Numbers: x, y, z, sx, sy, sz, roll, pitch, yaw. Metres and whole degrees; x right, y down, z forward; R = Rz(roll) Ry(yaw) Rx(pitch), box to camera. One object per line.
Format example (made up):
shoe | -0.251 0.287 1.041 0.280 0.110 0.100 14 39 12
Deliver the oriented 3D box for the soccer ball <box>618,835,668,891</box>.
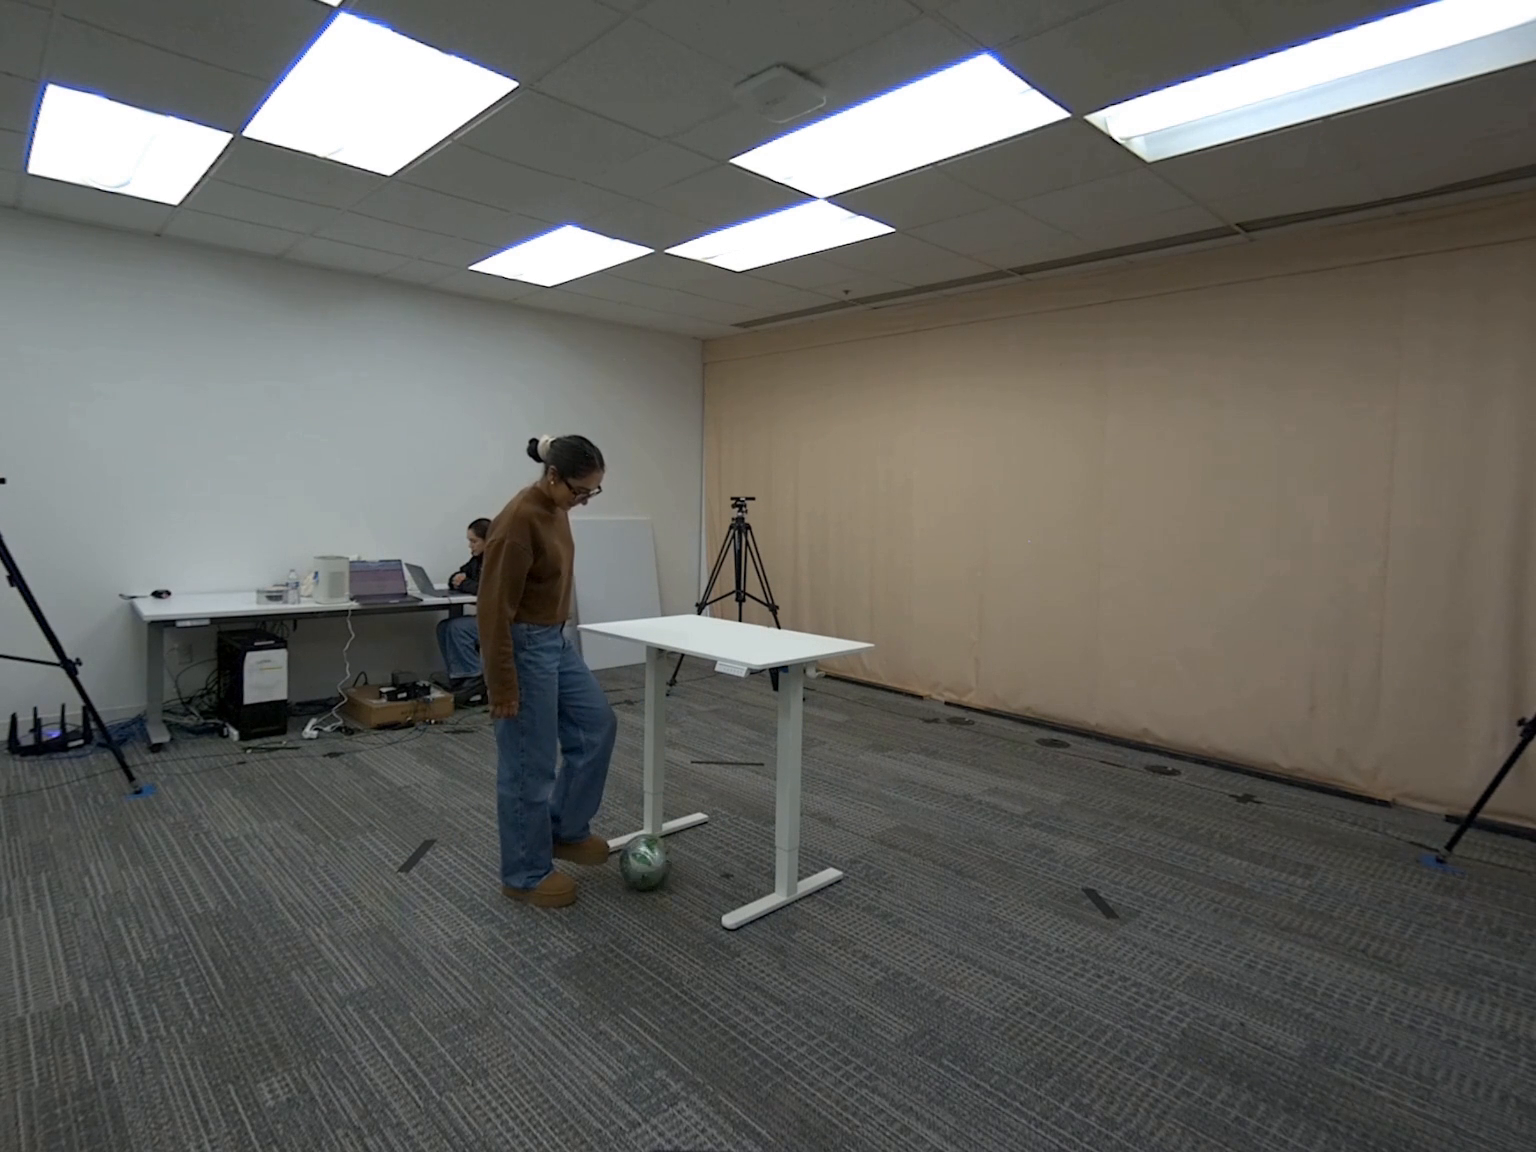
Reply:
soccer ball | -0.443 1.018 2.994 0.187 0.187 0.188 1 4 -1
